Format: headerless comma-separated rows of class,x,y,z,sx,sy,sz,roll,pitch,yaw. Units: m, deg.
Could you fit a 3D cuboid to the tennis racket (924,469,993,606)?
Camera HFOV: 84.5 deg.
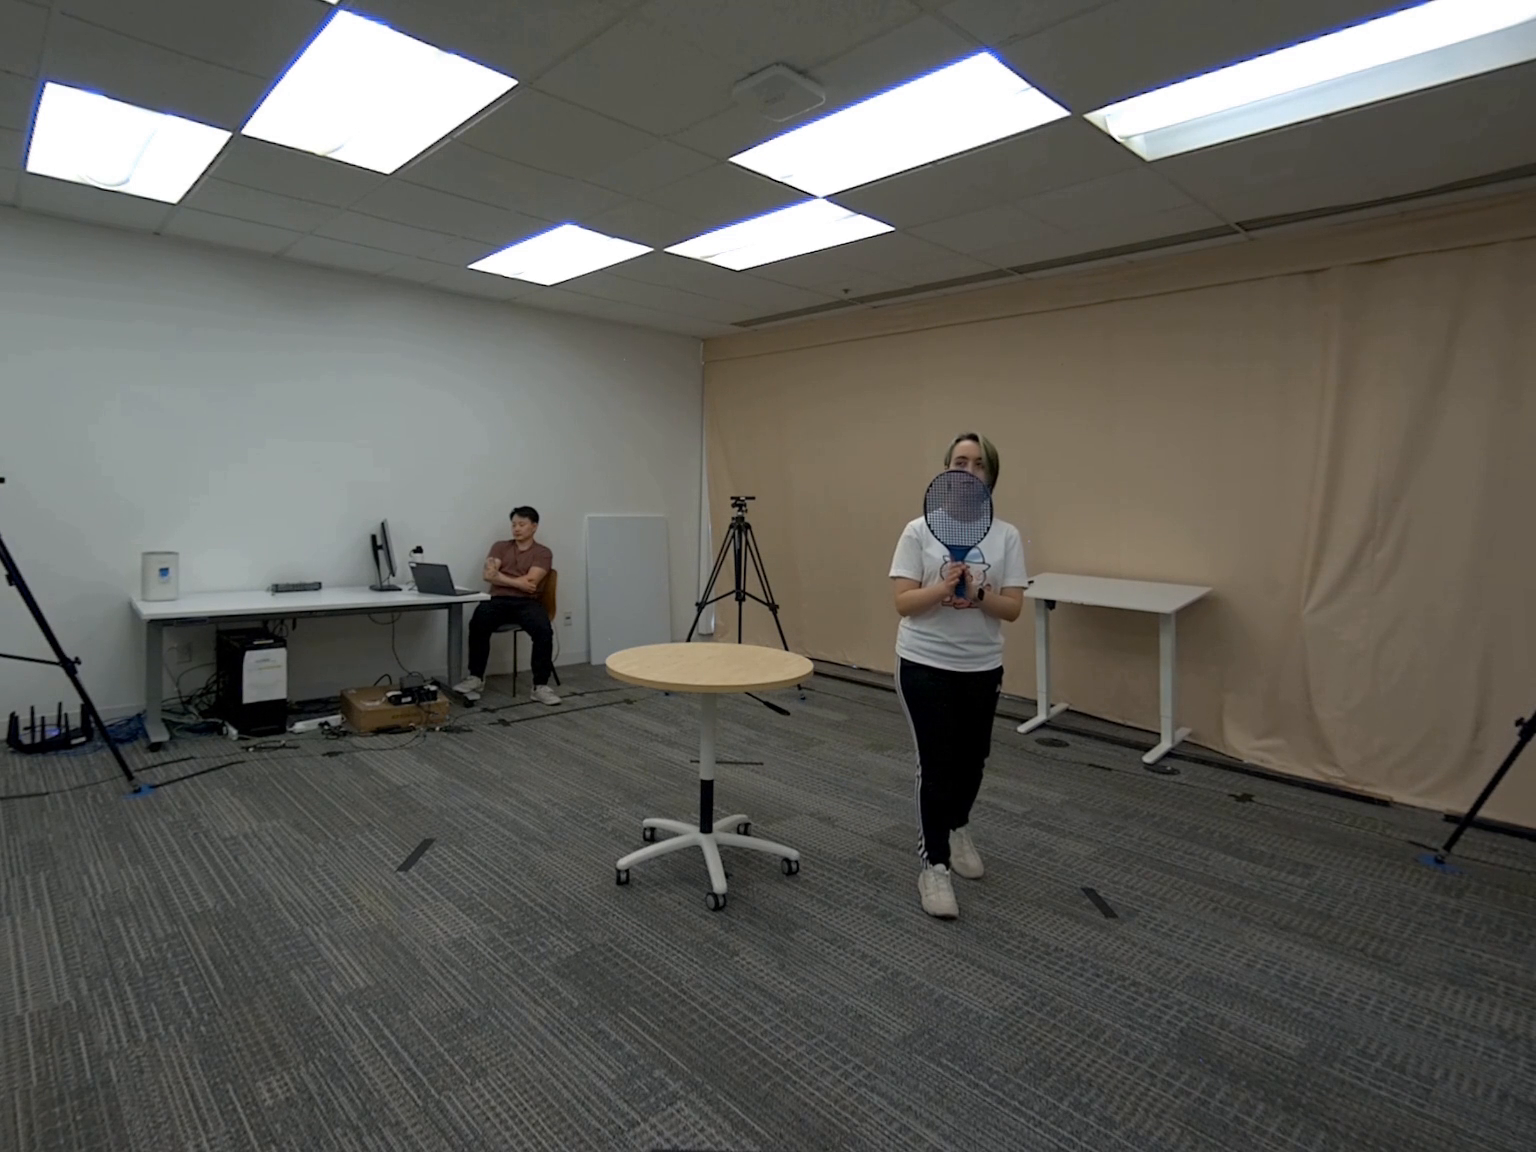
tennis racket,0.592,-0.125,2.649,0.212,0.427,0.032,-9,18,-12
